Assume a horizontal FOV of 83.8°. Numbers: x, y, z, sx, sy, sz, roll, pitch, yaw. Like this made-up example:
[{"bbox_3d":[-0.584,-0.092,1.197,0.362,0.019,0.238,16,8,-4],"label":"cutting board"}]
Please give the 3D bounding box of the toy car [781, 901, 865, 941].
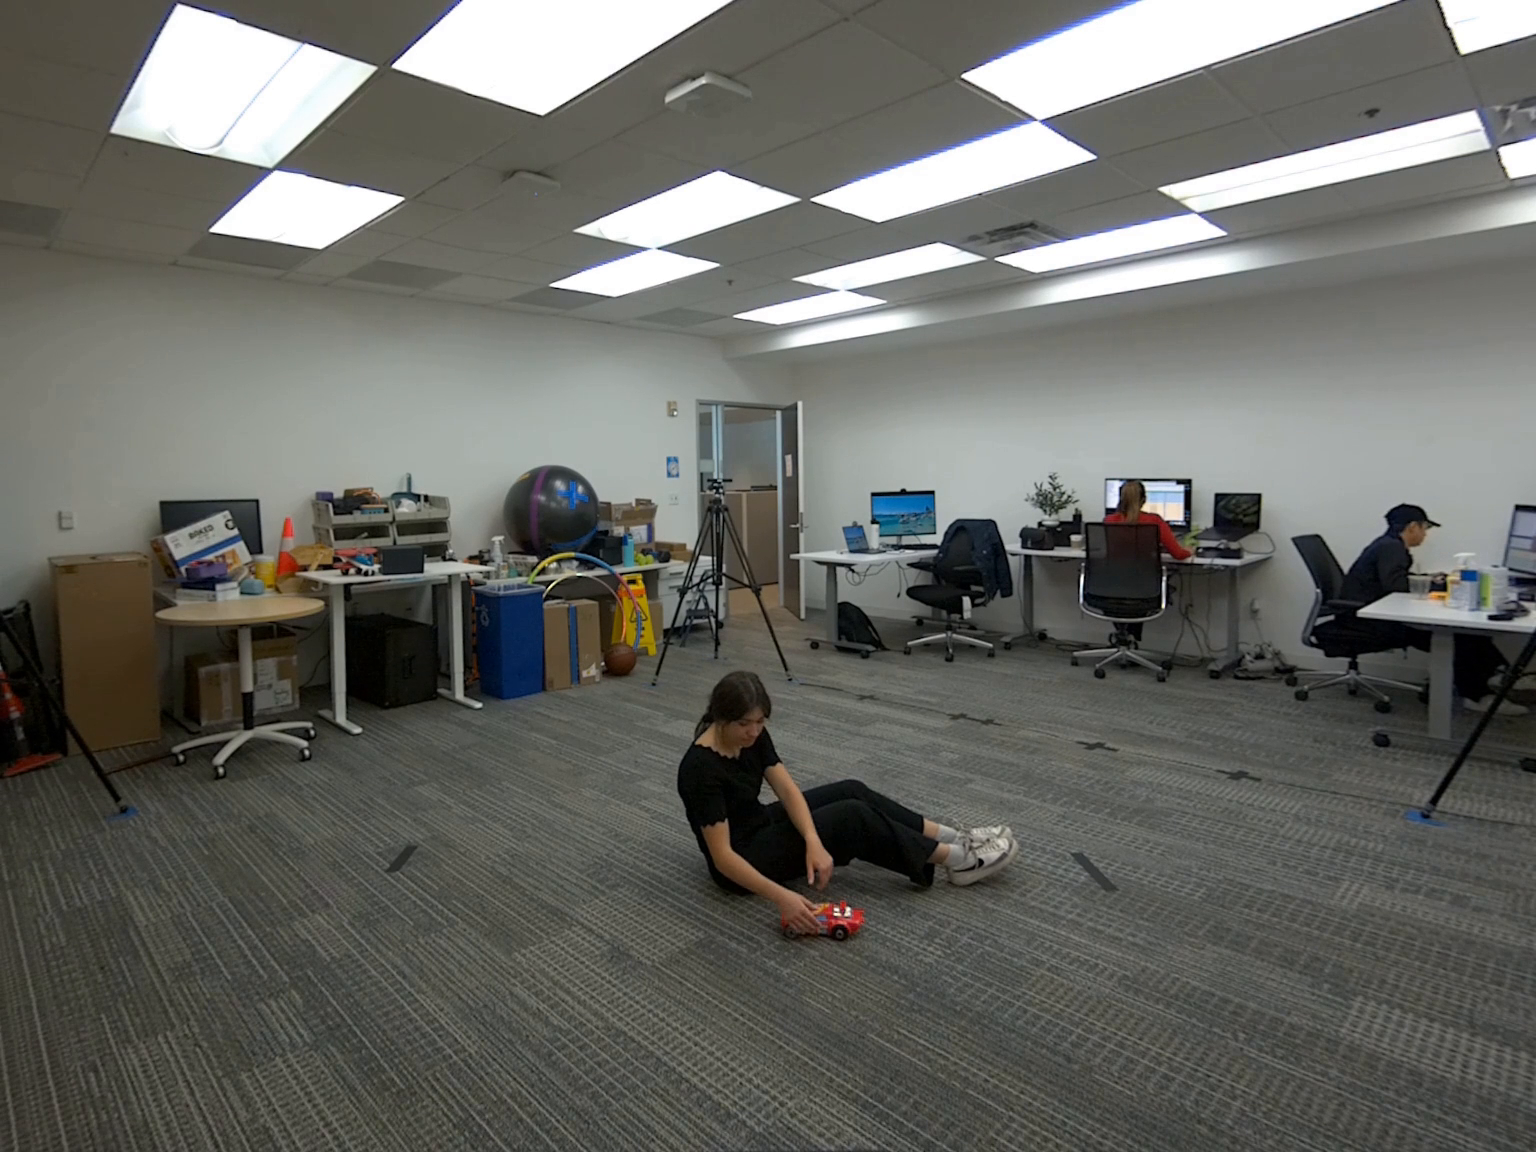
[{"bbox_3d":[0.173,1.064,2.637,0.256,0.083,0.130,-12,4,9],"label":"toy car"}]
